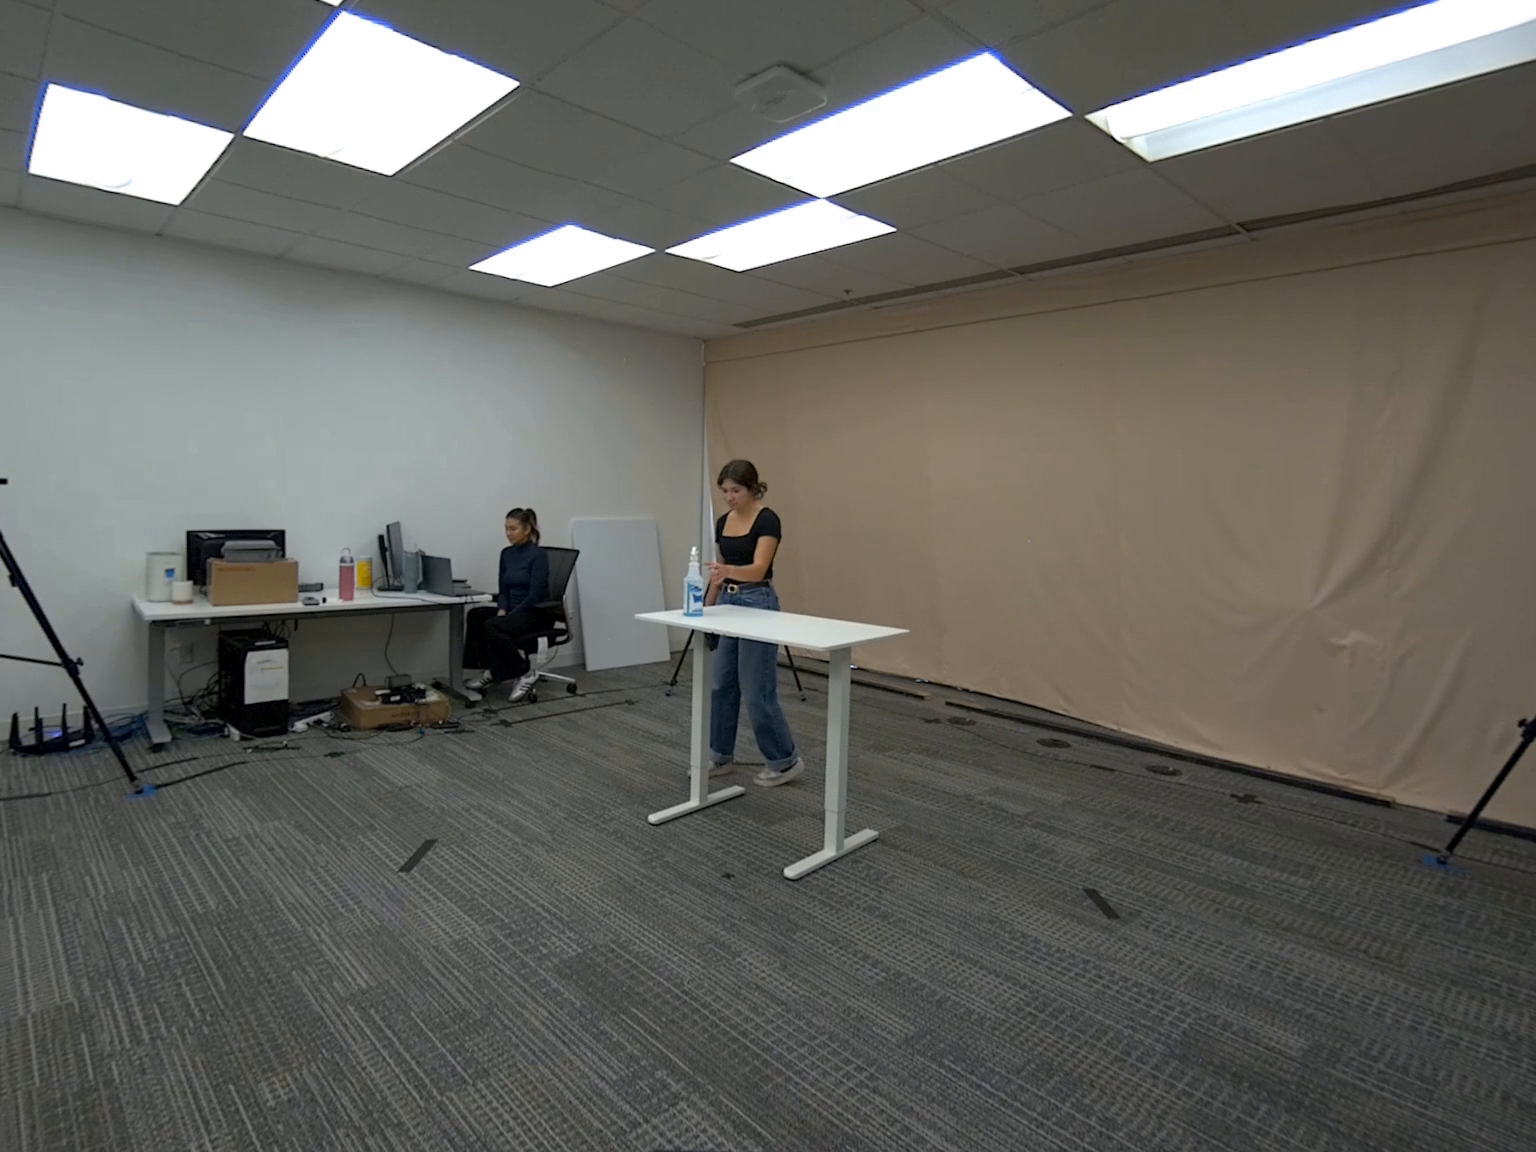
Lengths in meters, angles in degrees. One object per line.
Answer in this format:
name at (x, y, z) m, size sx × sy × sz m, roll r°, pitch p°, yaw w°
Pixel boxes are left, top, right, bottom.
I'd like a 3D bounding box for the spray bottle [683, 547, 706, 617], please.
spray bottle at (-0.333, 0.027, 3.646) m, size 0.088 × 0.297 × 0.088 m, roll 1°, pitch 1°, yaw 23°
